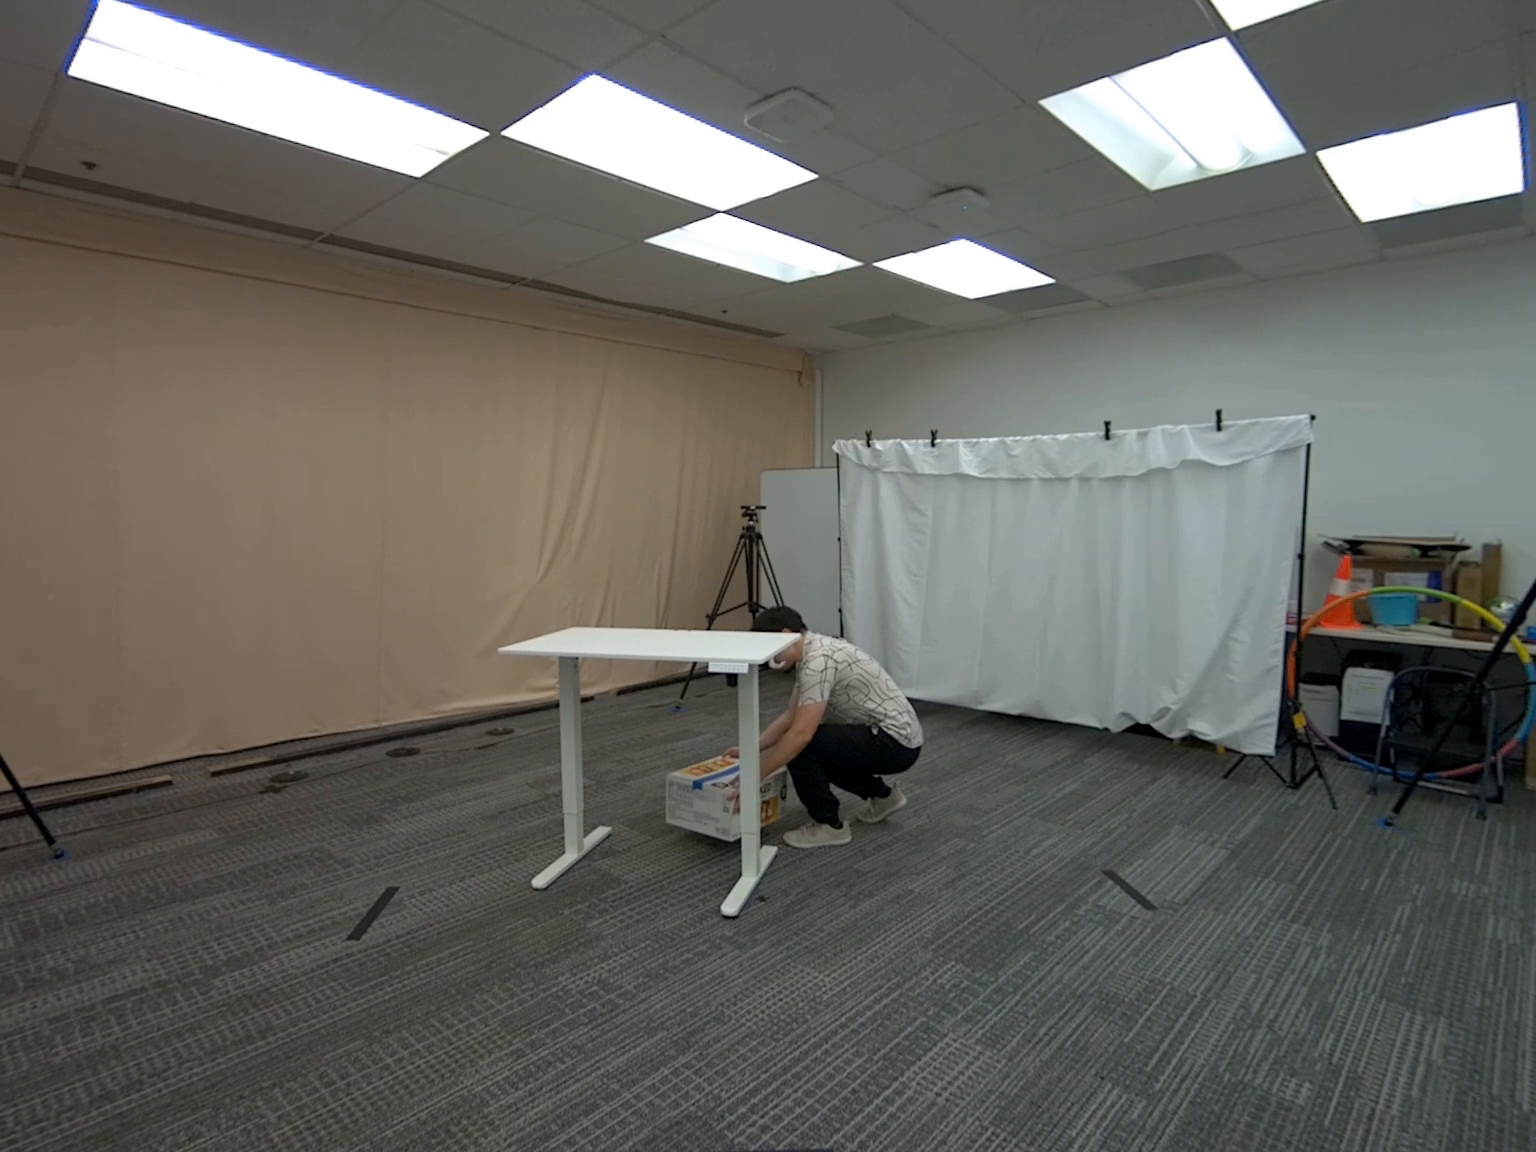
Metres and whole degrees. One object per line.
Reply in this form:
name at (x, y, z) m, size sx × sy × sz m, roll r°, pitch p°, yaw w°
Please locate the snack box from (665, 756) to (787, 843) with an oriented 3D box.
snack box at (-0.168, 0.924, 3.537) m, size 0.351 × 0.205 × 0.393 m, roll 3°, pitch 3°, yaw 34°
